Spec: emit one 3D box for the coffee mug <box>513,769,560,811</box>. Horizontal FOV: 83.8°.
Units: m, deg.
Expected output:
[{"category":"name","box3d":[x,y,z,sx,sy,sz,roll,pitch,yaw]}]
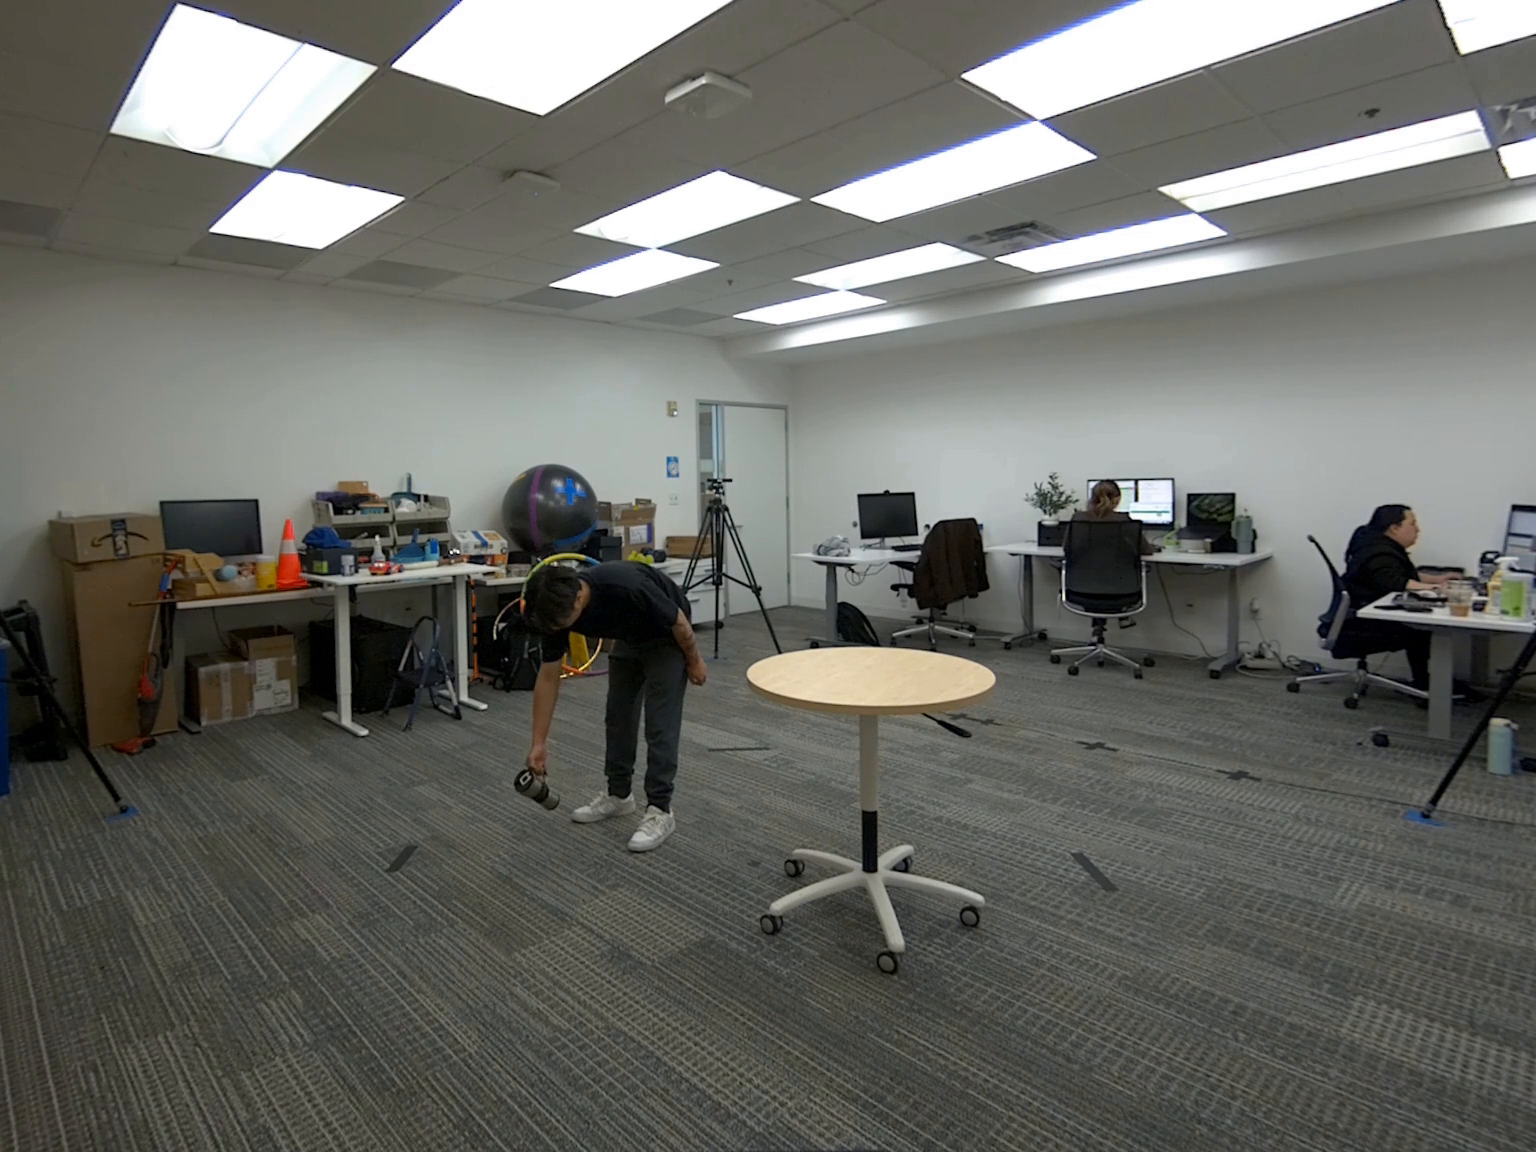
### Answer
[{"category":"coffee mug","box3d":[-0.864,0.798,3.258,0.090,0.123,0.195,-3,-37,33]}]
